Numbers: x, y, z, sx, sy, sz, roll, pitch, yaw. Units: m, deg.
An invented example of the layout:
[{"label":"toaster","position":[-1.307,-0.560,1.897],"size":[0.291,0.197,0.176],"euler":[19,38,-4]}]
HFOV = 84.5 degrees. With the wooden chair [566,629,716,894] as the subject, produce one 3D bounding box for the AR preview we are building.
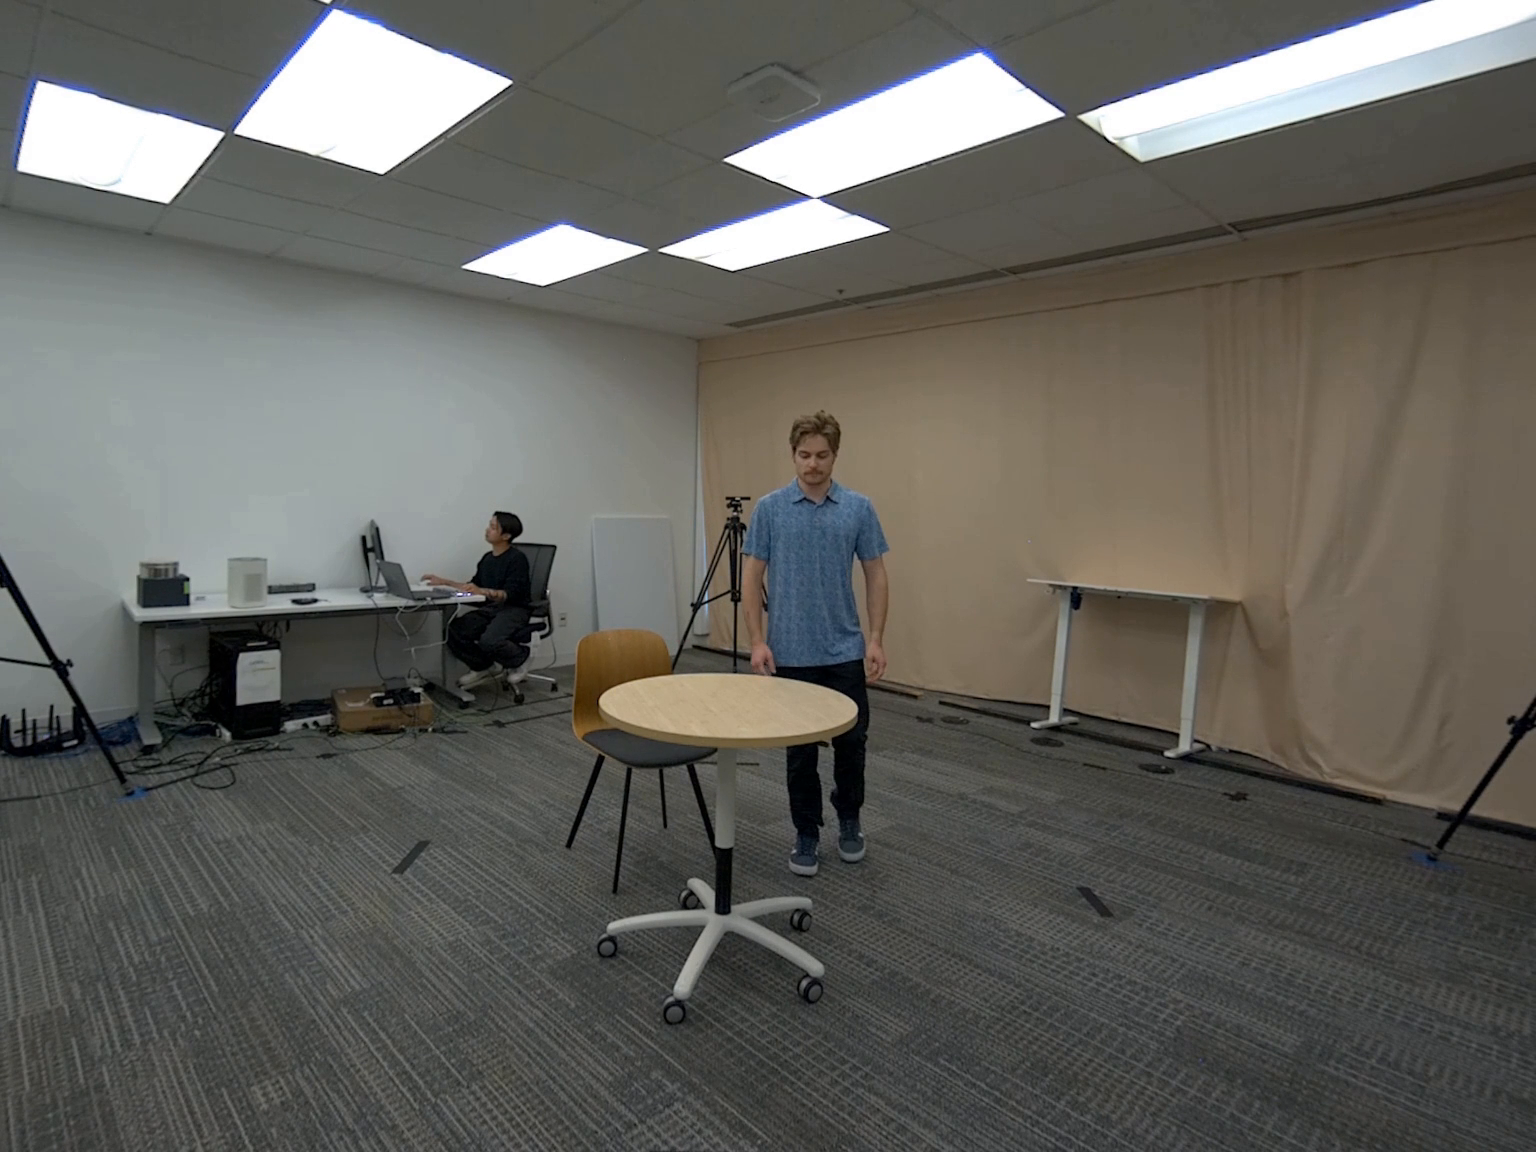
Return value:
[{"label":"wooden chair","position":[-0.472,0.660,3.211],"size":[0.468,0.878,0.534],"euler":[0,-1,-34]}]
